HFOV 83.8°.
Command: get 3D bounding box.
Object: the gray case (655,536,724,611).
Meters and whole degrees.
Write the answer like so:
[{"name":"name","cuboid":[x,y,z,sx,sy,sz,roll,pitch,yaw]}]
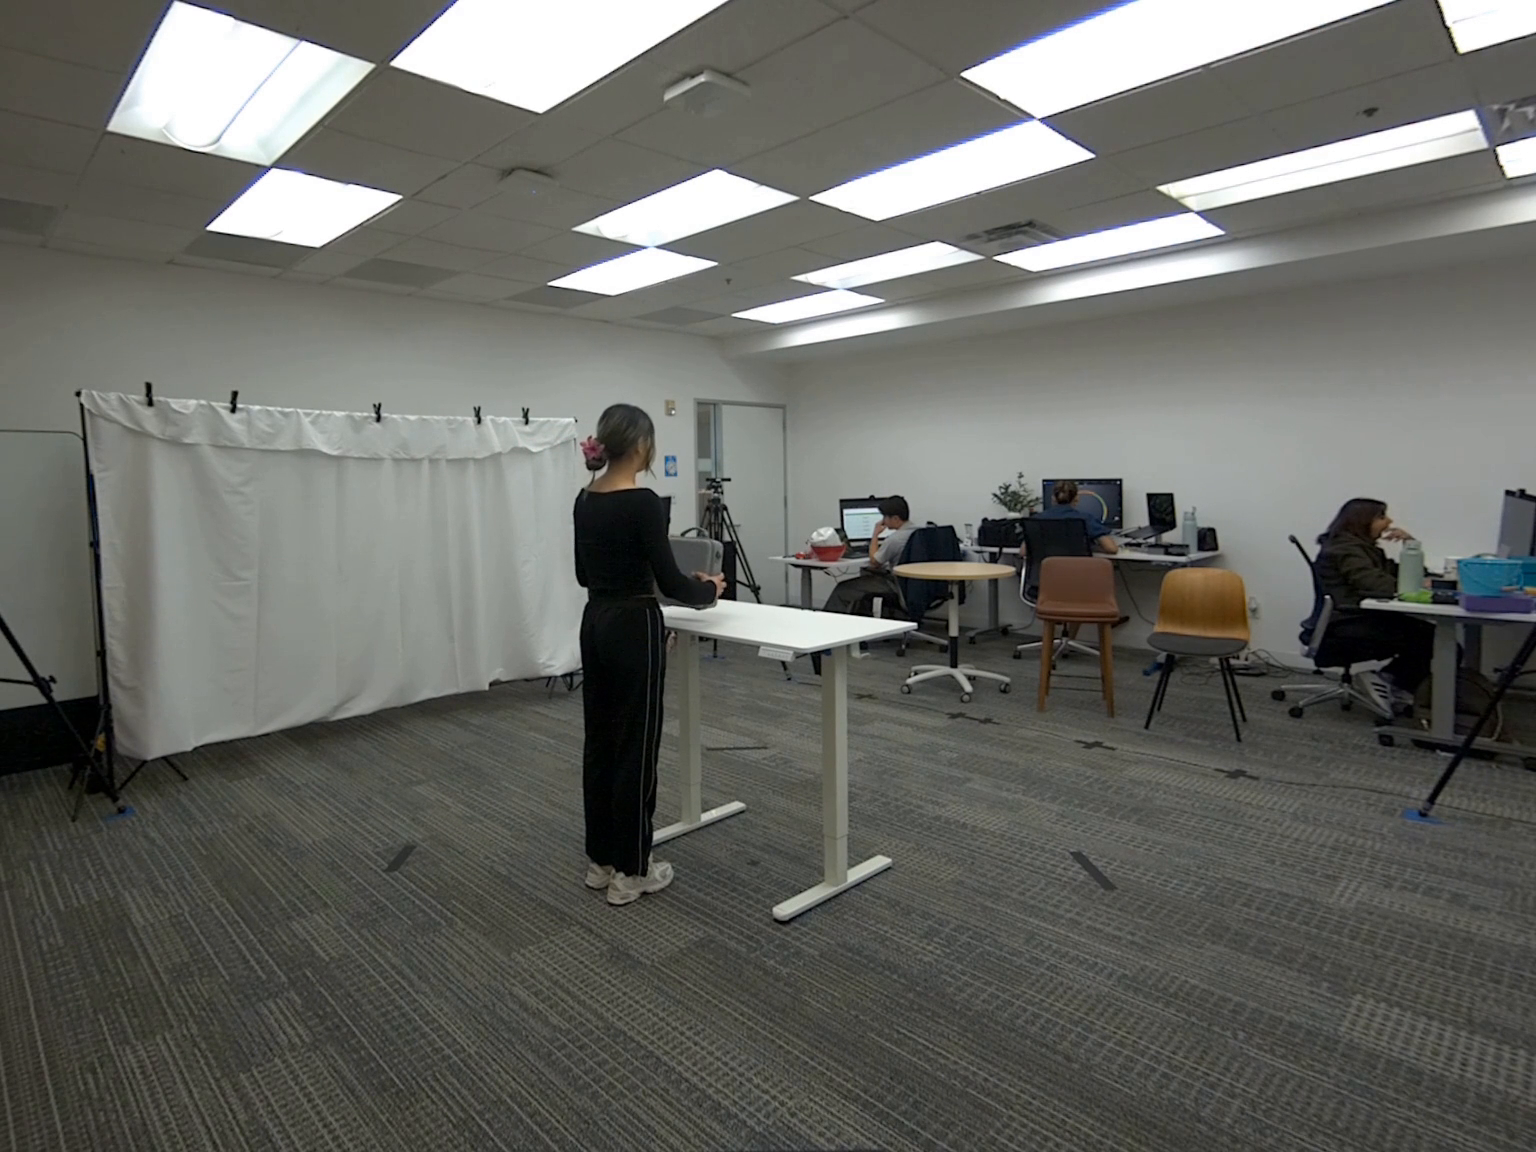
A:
[{"name":"gray case","cuboid":[-0.303,-0.017,3.147,0.265,0.261,0.101,5,-2,37]}]
